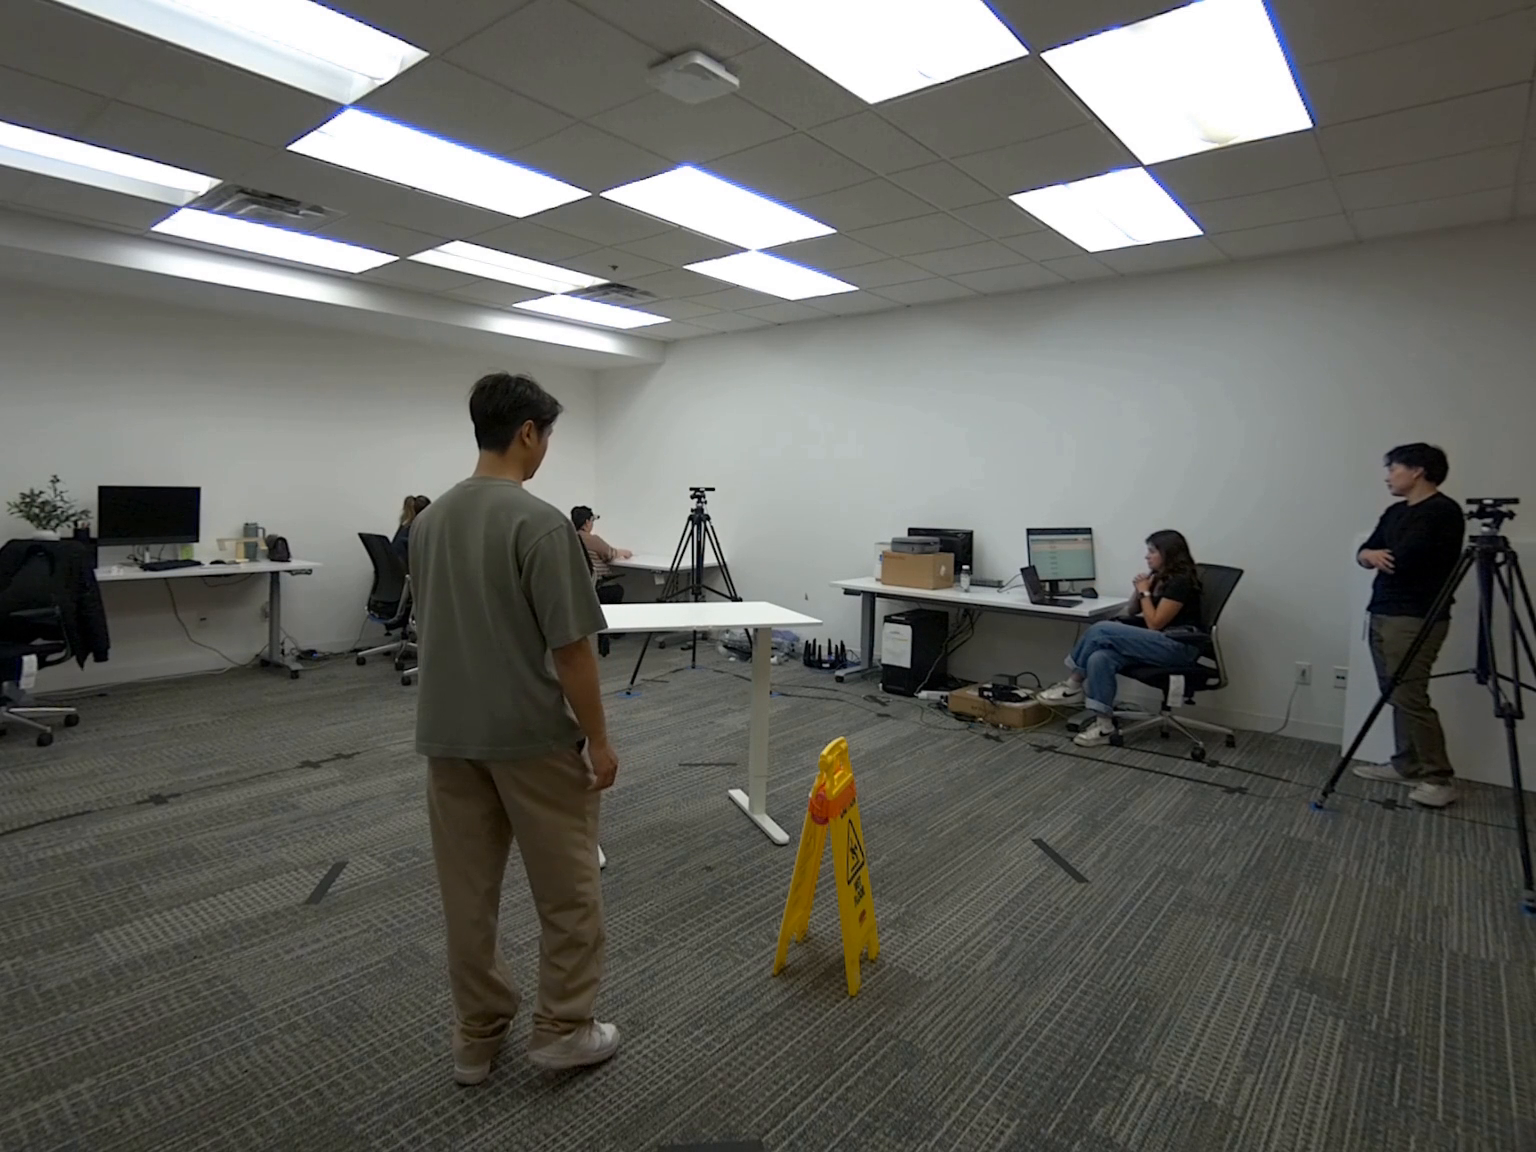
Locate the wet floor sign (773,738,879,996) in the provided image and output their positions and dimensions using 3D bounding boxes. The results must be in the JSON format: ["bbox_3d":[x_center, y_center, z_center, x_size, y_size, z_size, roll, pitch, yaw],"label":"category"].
[{"bbox_3d":[0.179,0.814,2.487,0.296,0.644,0.277,3,4,21],"label":"wet floor sign"}]
